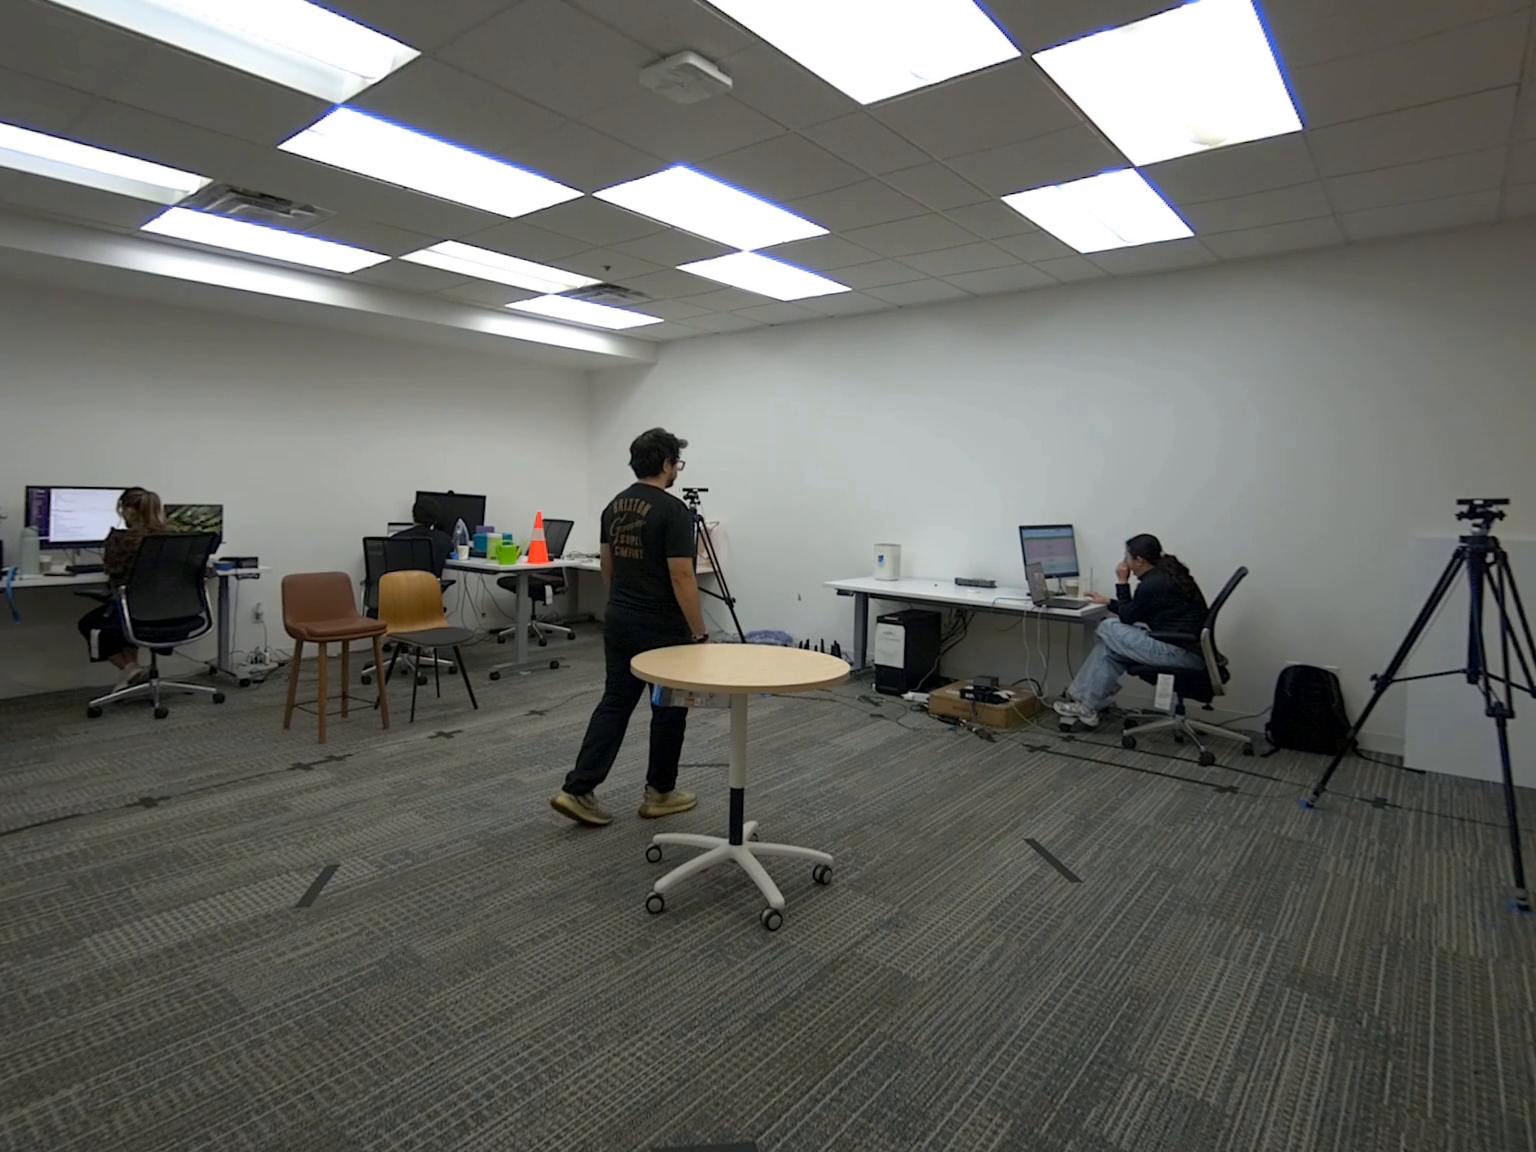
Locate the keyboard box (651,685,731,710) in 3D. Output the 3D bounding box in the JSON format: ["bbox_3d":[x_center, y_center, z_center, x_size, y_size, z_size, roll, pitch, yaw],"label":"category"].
[{"bbox_3d":[-0.290,0.446,3.499,0.421,0.176,0.061,10,-2,-43],"label":"keyboard box"}]
